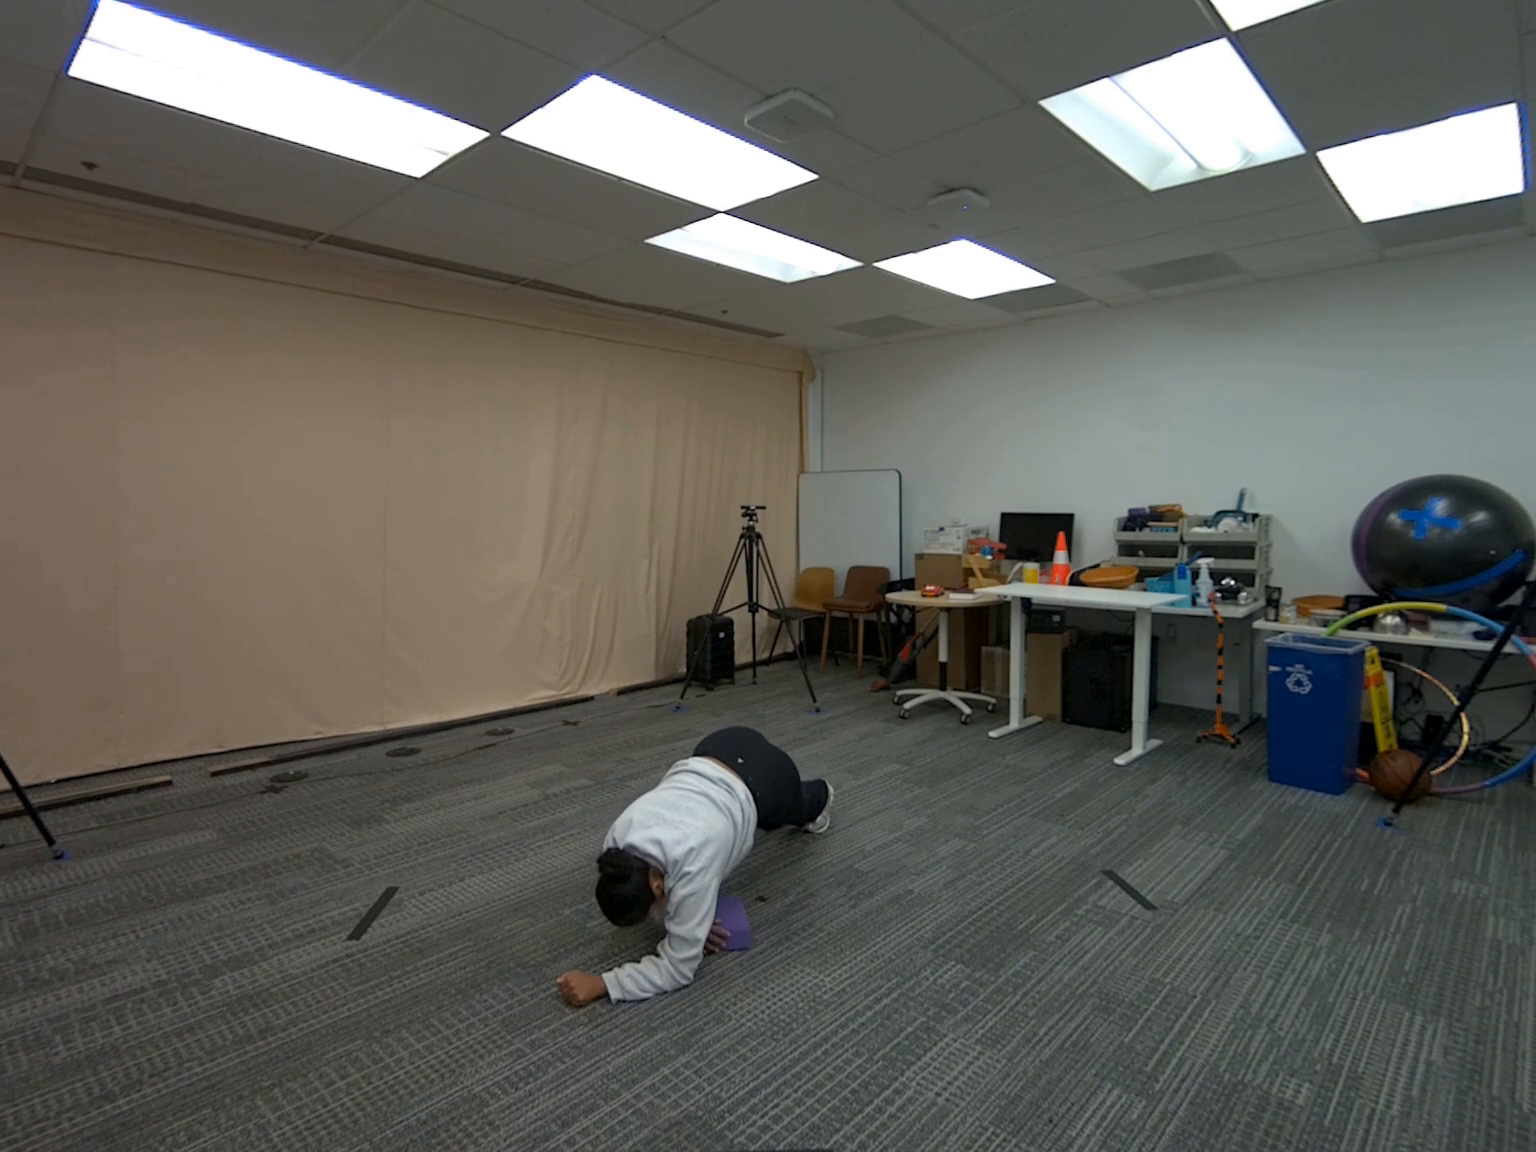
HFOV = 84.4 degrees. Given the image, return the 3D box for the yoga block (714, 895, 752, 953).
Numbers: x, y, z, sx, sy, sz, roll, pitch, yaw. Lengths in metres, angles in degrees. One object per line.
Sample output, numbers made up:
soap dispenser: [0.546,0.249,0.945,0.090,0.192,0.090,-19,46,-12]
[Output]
yoga block: [-0.154,1.122,2.719,0.148,0.076,0.232,0,6,-9]
